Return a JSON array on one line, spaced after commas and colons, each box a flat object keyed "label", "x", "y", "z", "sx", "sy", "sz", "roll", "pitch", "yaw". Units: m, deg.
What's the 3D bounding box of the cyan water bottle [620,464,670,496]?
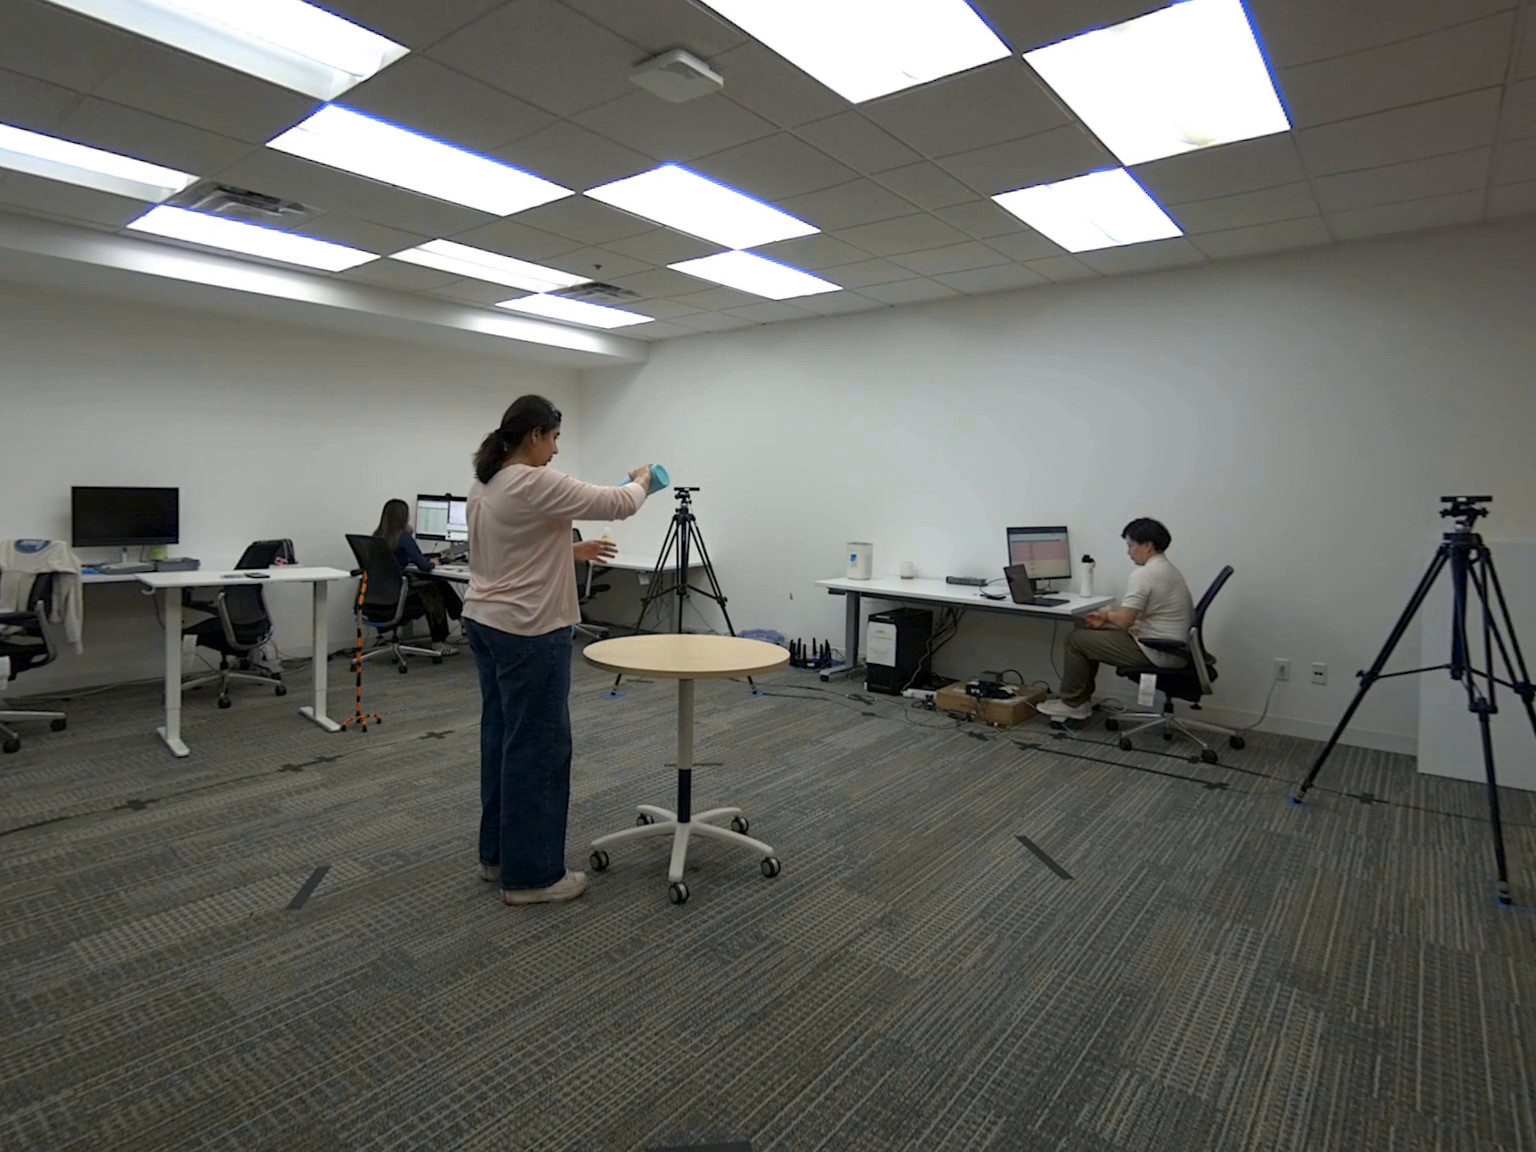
[{"label": "cyan water bottle", "x": -0.508, "y": -0.311, "z": 3.106, "sx": 0.287, "sy": 0.093, "sz": 0.090, "roll": -23, "pitch": -5, "yaw": 23}]
